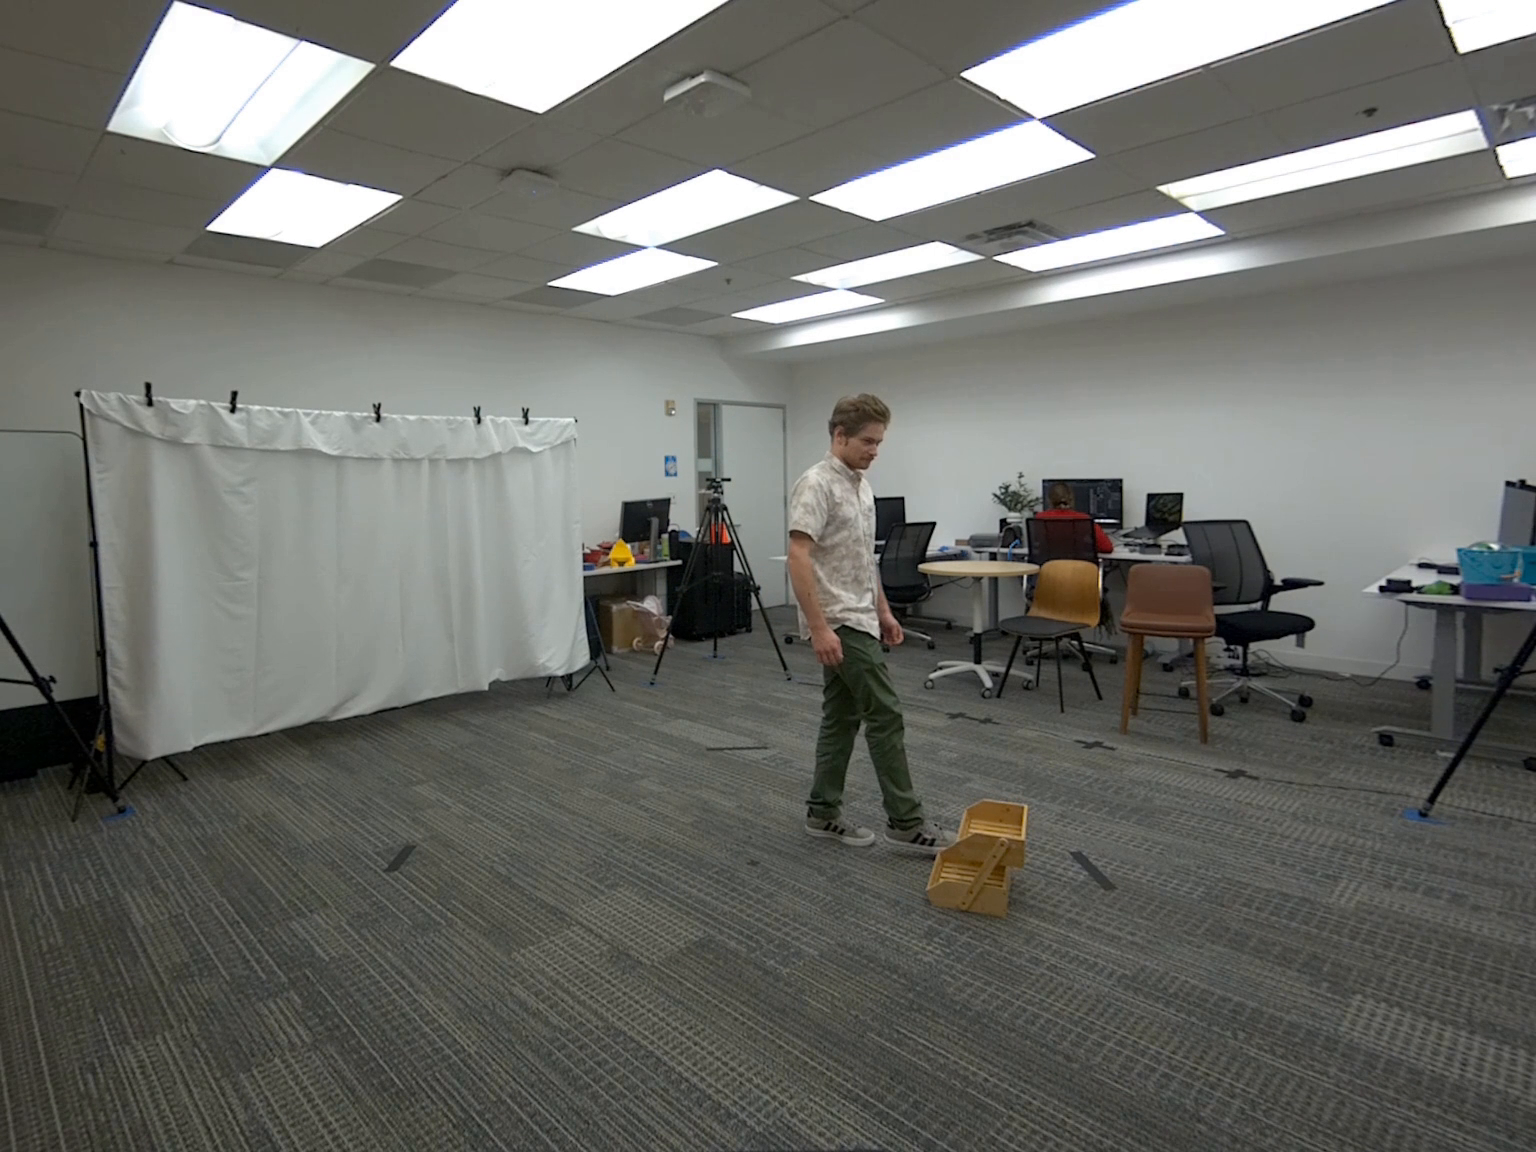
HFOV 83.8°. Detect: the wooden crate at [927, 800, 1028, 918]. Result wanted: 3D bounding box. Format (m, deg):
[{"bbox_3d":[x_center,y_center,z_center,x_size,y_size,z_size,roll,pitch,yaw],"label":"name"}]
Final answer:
[{"bbox_3d":[0.706,0.923,2.853,0.308,0.272,0.319,1,5,20],"label":"wooden crate"}]
